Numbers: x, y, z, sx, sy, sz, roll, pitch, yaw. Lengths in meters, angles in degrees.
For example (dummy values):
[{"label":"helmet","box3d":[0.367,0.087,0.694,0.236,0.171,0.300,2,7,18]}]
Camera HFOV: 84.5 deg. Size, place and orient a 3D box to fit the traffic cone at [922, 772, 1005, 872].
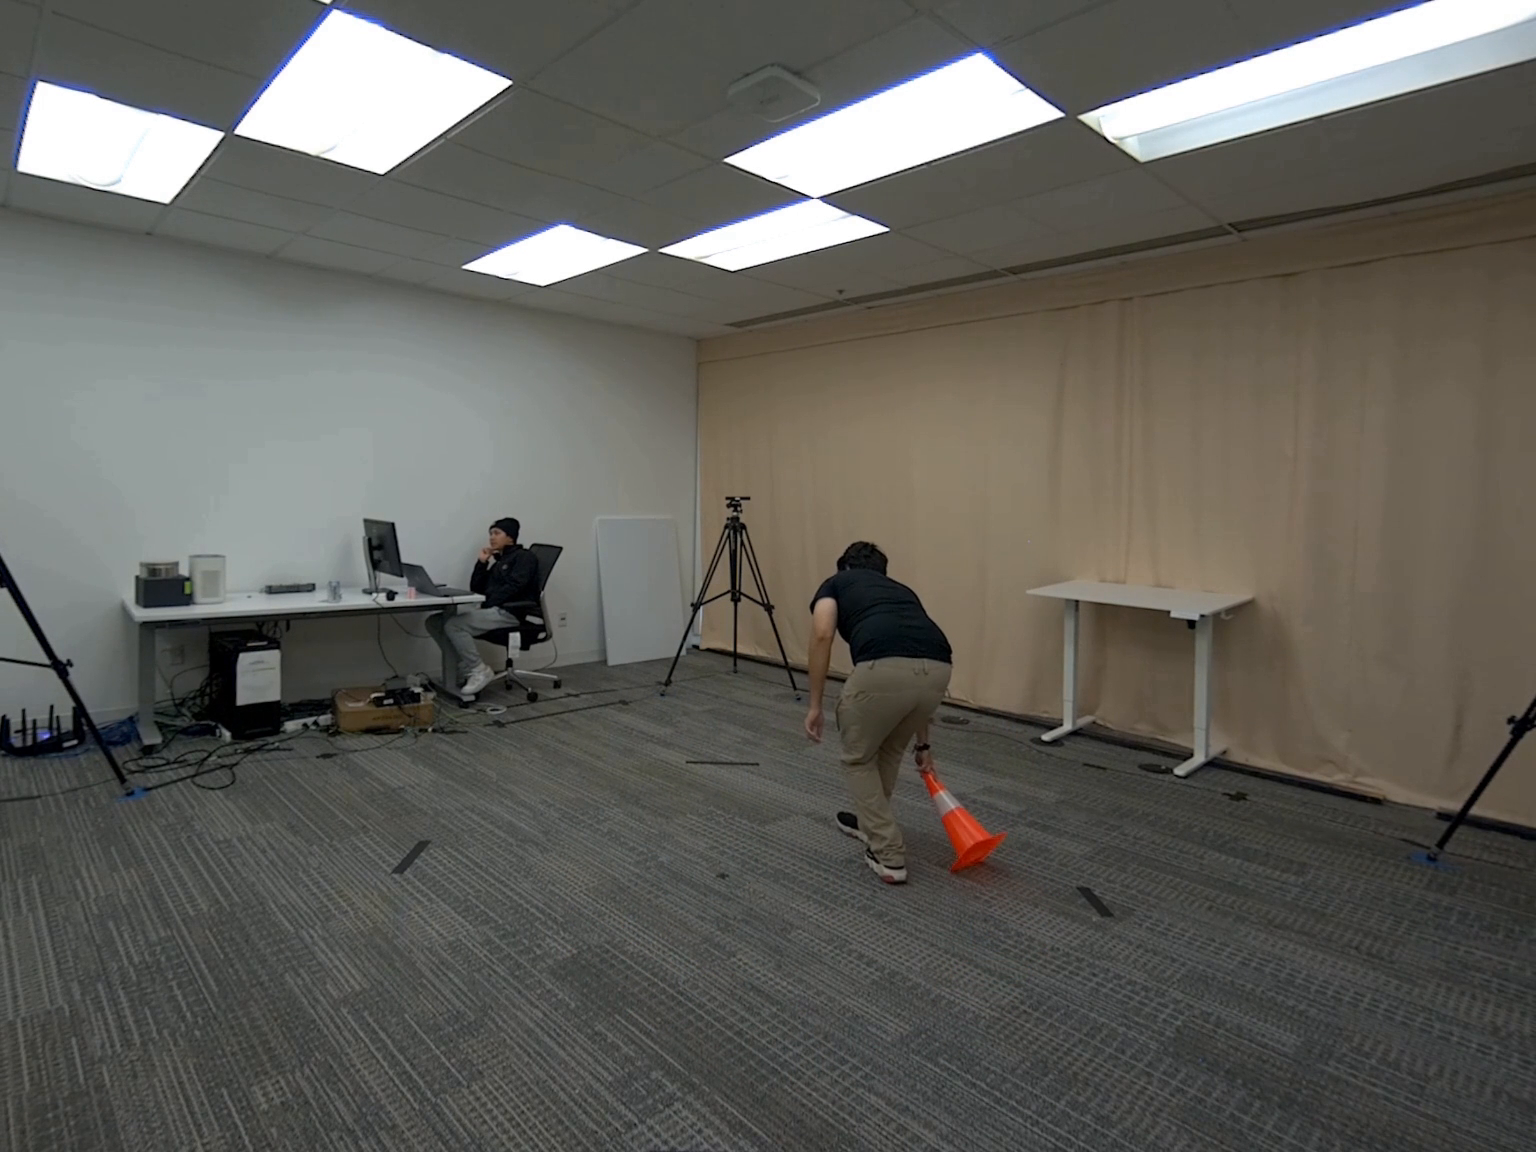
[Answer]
[{"label":"traffic cone","box3d":[0.699,0.917,3.309,0.199,0.203,0.395,-3,44,-33]}]
